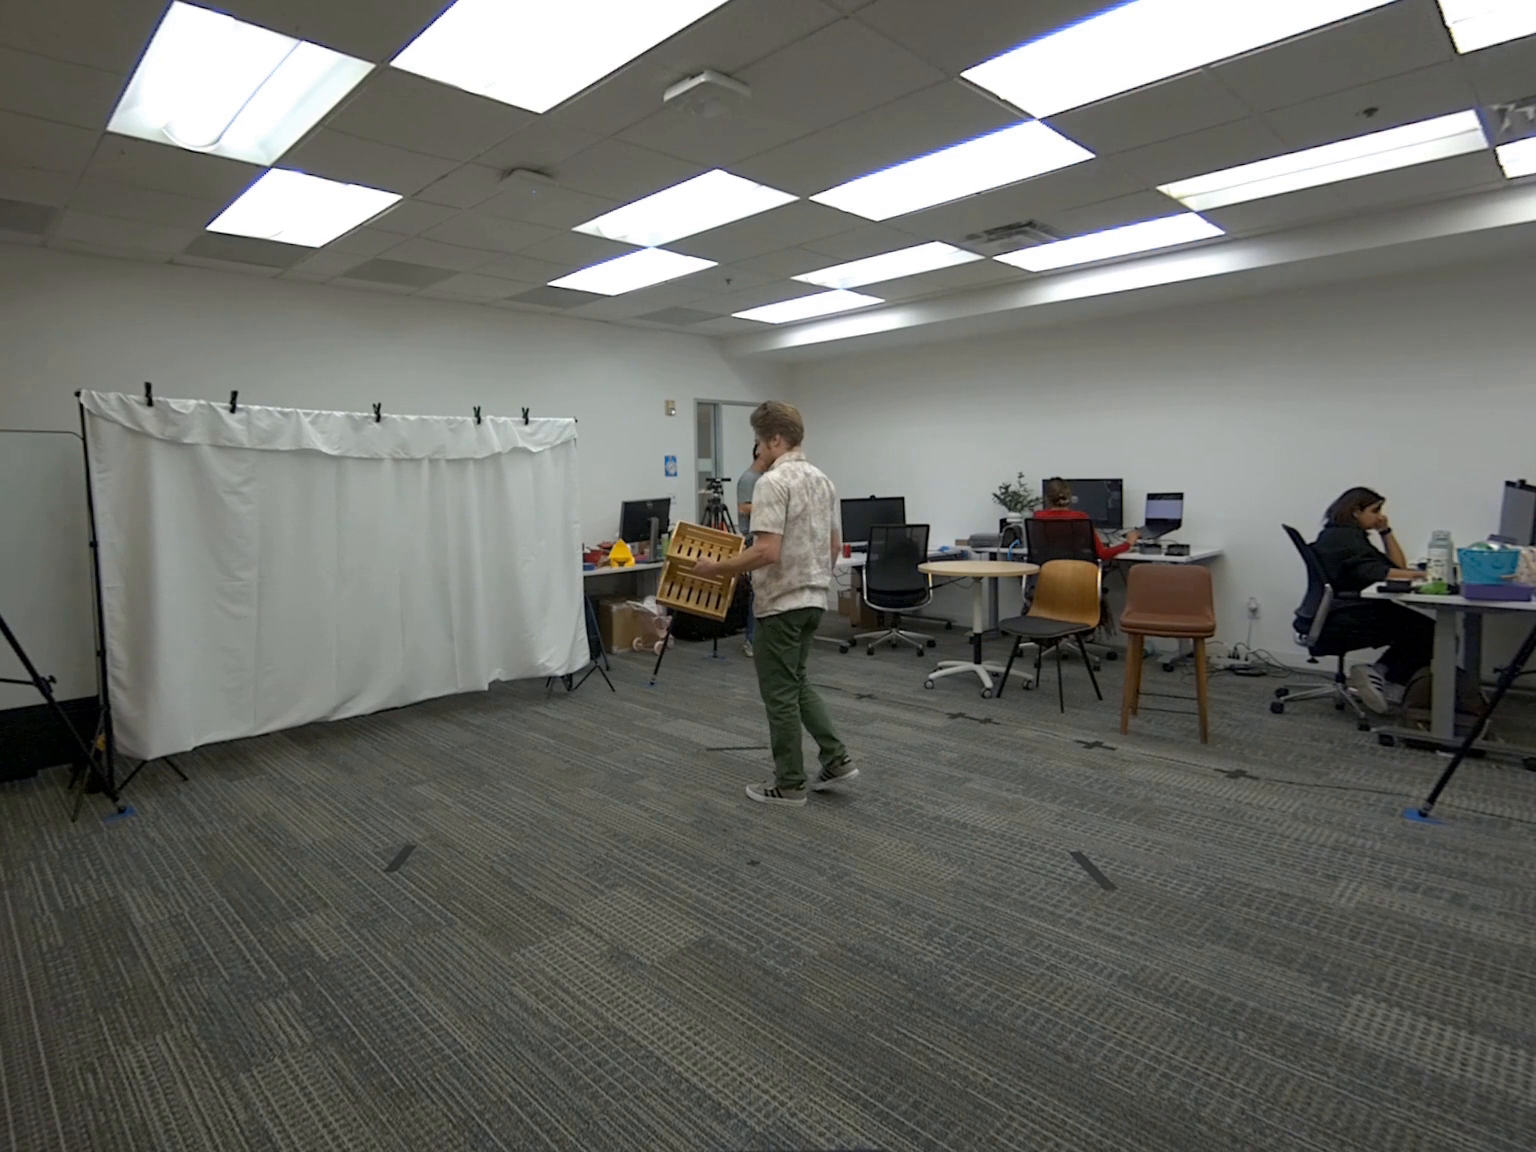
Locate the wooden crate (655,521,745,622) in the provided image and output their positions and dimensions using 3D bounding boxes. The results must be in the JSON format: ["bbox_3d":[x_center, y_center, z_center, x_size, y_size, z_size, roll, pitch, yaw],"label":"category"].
[{"bbox_3d":[-0.285,-0.025,3.659,0.324,0.268,0.307,14,35,-1],"label":"wooden crate"}]
